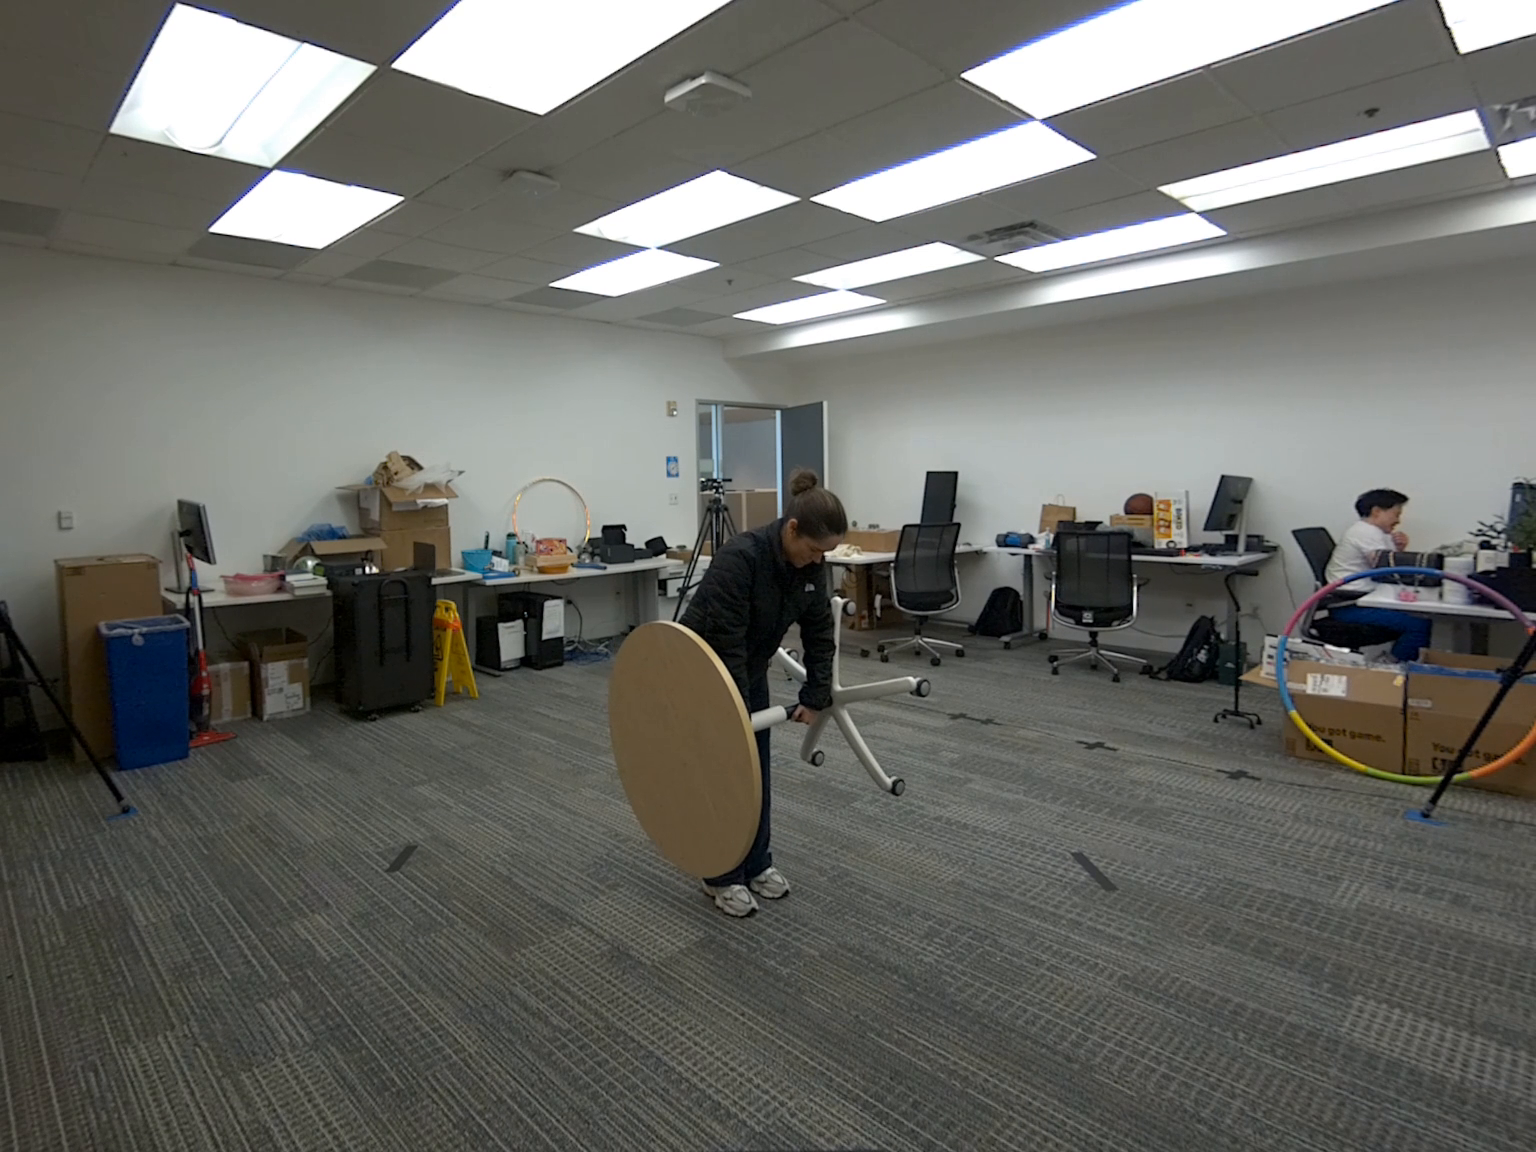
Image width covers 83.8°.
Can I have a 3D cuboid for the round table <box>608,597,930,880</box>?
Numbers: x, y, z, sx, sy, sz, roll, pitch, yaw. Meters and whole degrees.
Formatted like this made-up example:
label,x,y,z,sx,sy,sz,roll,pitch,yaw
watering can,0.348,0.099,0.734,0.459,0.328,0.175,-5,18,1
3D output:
label,x,y,z,sx,sy,sz,roll,pitch,yaw
round table,0.007,0.477,2.832,0.767,0.781,0.809,-8,8,-40
